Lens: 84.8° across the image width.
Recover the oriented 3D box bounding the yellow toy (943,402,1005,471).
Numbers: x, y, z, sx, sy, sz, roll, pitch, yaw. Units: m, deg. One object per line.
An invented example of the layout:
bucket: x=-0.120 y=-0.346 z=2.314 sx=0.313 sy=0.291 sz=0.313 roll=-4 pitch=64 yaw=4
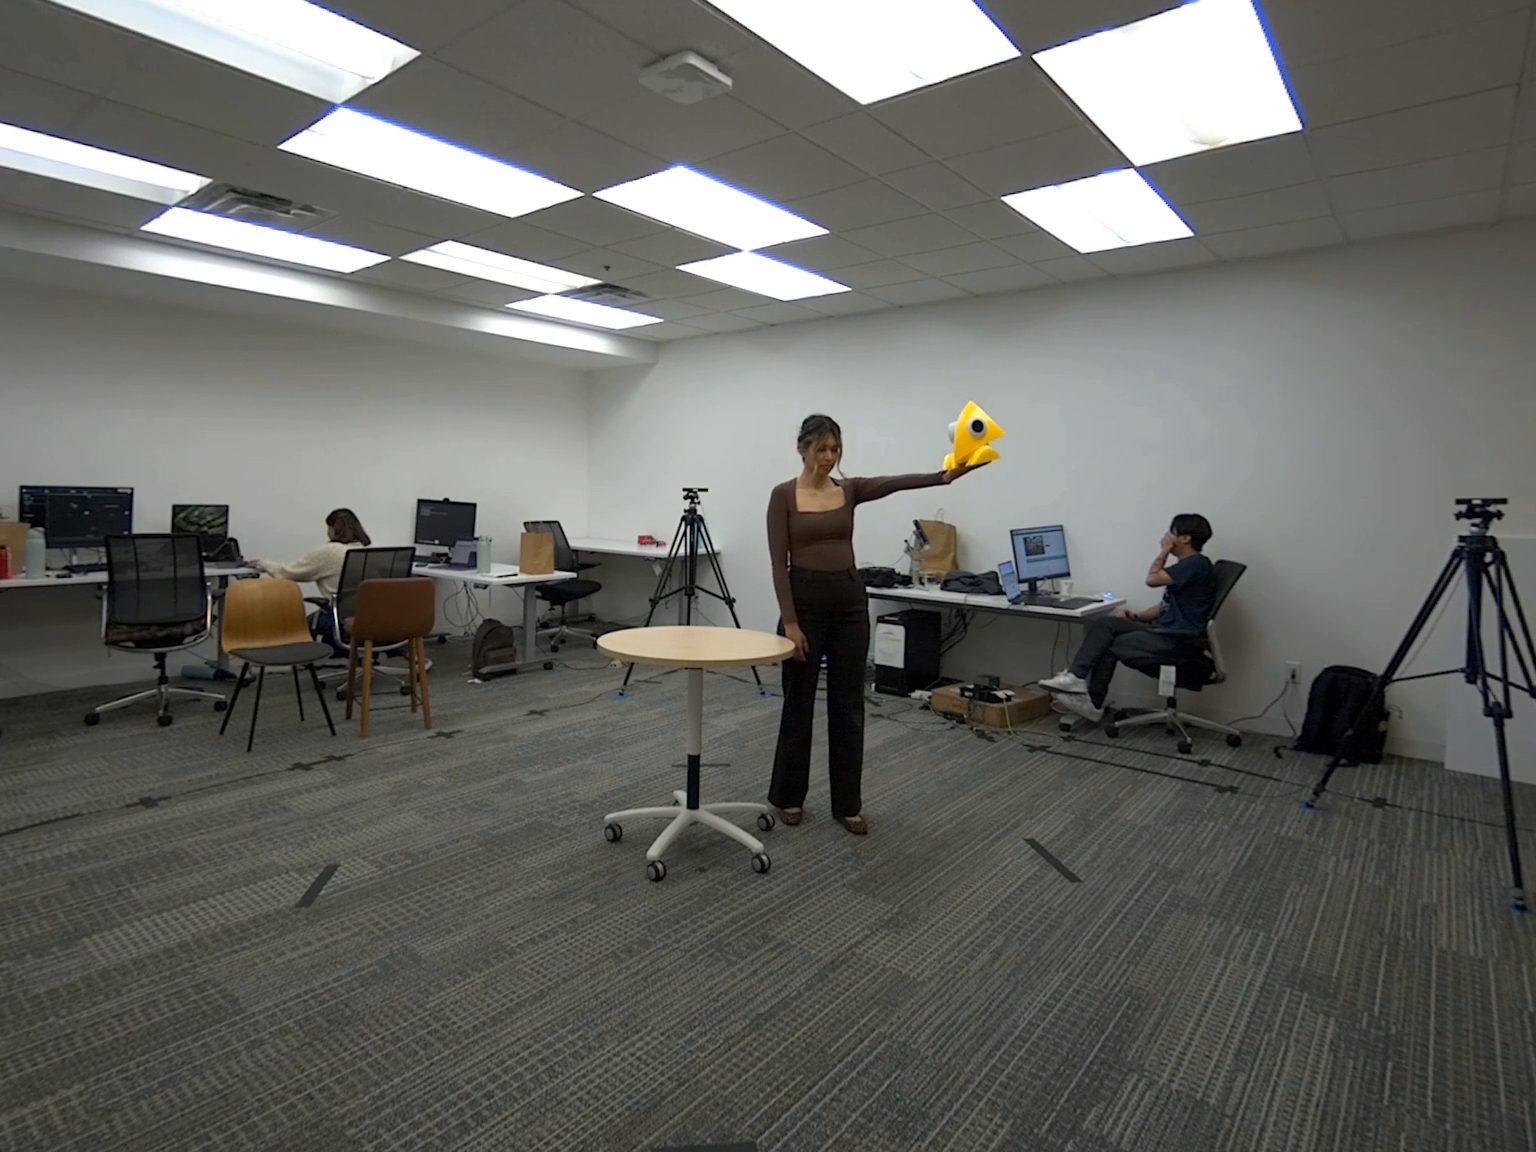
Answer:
yellow toy: x=0.731 y=-0.528 z=3.130 sx=0.189 sy=0.229 sz=0.210 roll=-17 pitch=6 yaw=-35
